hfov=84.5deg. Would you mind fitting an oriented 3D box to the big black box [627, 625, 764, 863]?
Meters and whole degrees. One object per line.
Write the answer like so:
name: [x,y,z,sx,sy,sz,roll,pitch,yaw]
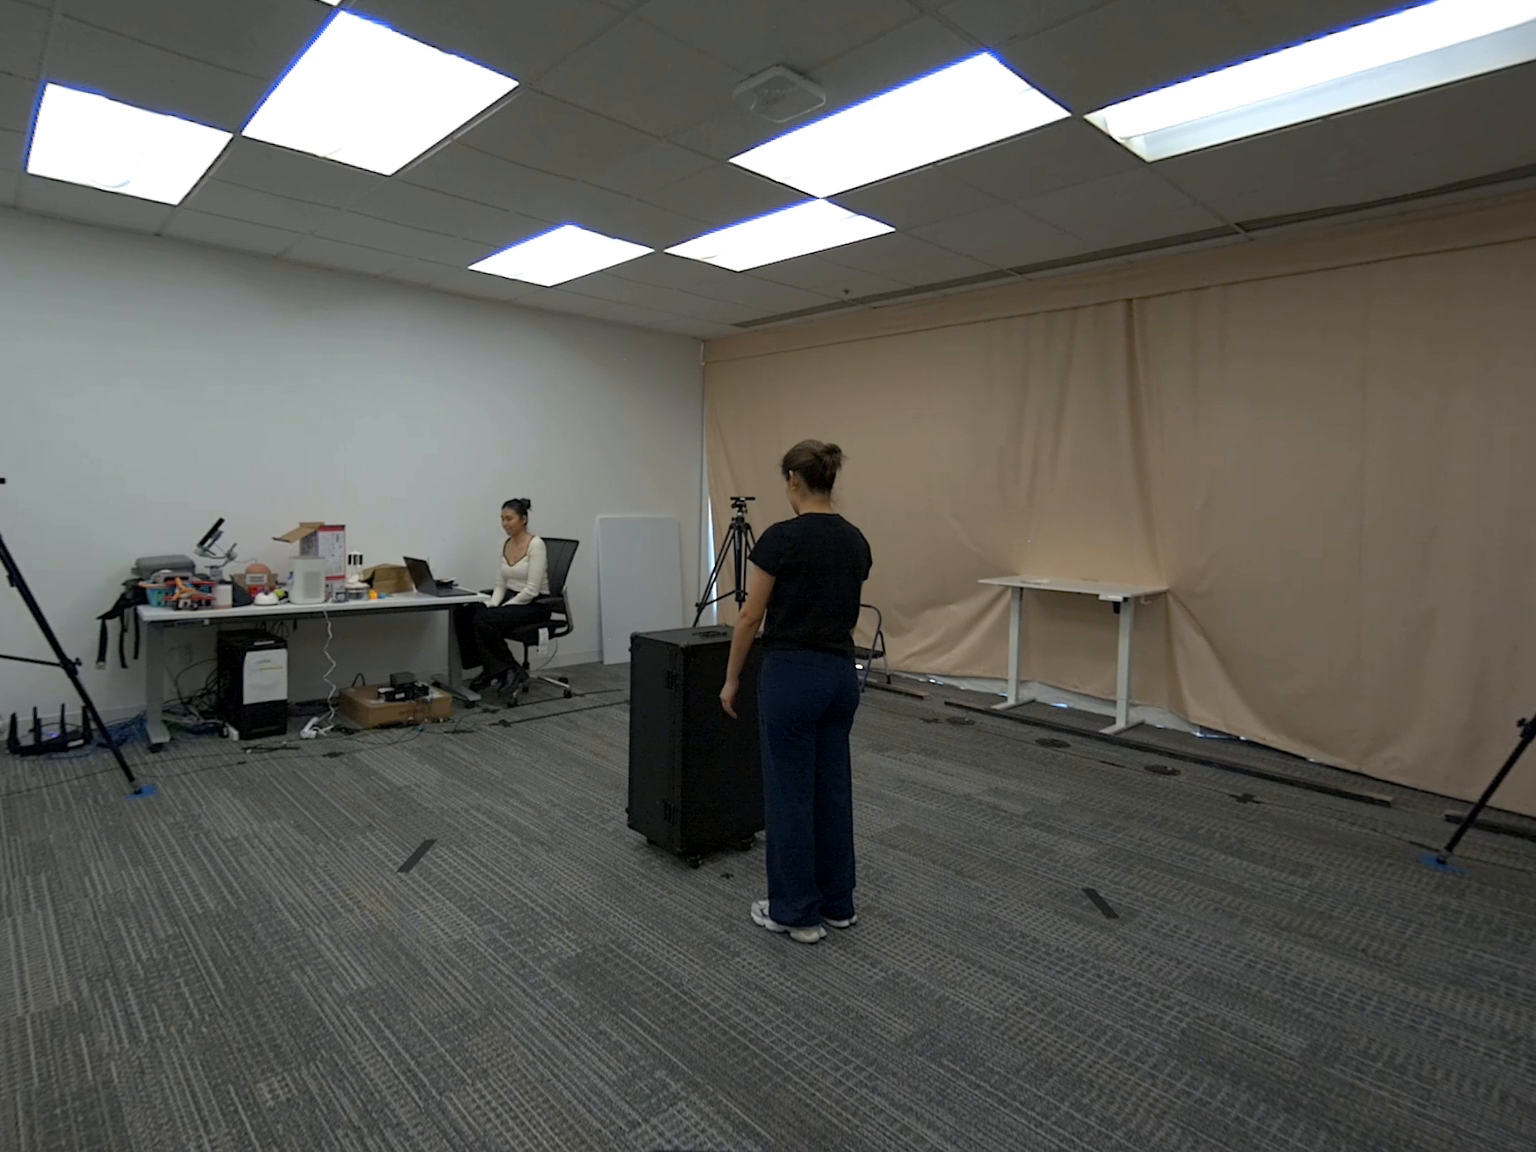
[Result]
big black box: [-0.272,0.658,3.353,0.509,0.860,0.406,-2,3,-41]
